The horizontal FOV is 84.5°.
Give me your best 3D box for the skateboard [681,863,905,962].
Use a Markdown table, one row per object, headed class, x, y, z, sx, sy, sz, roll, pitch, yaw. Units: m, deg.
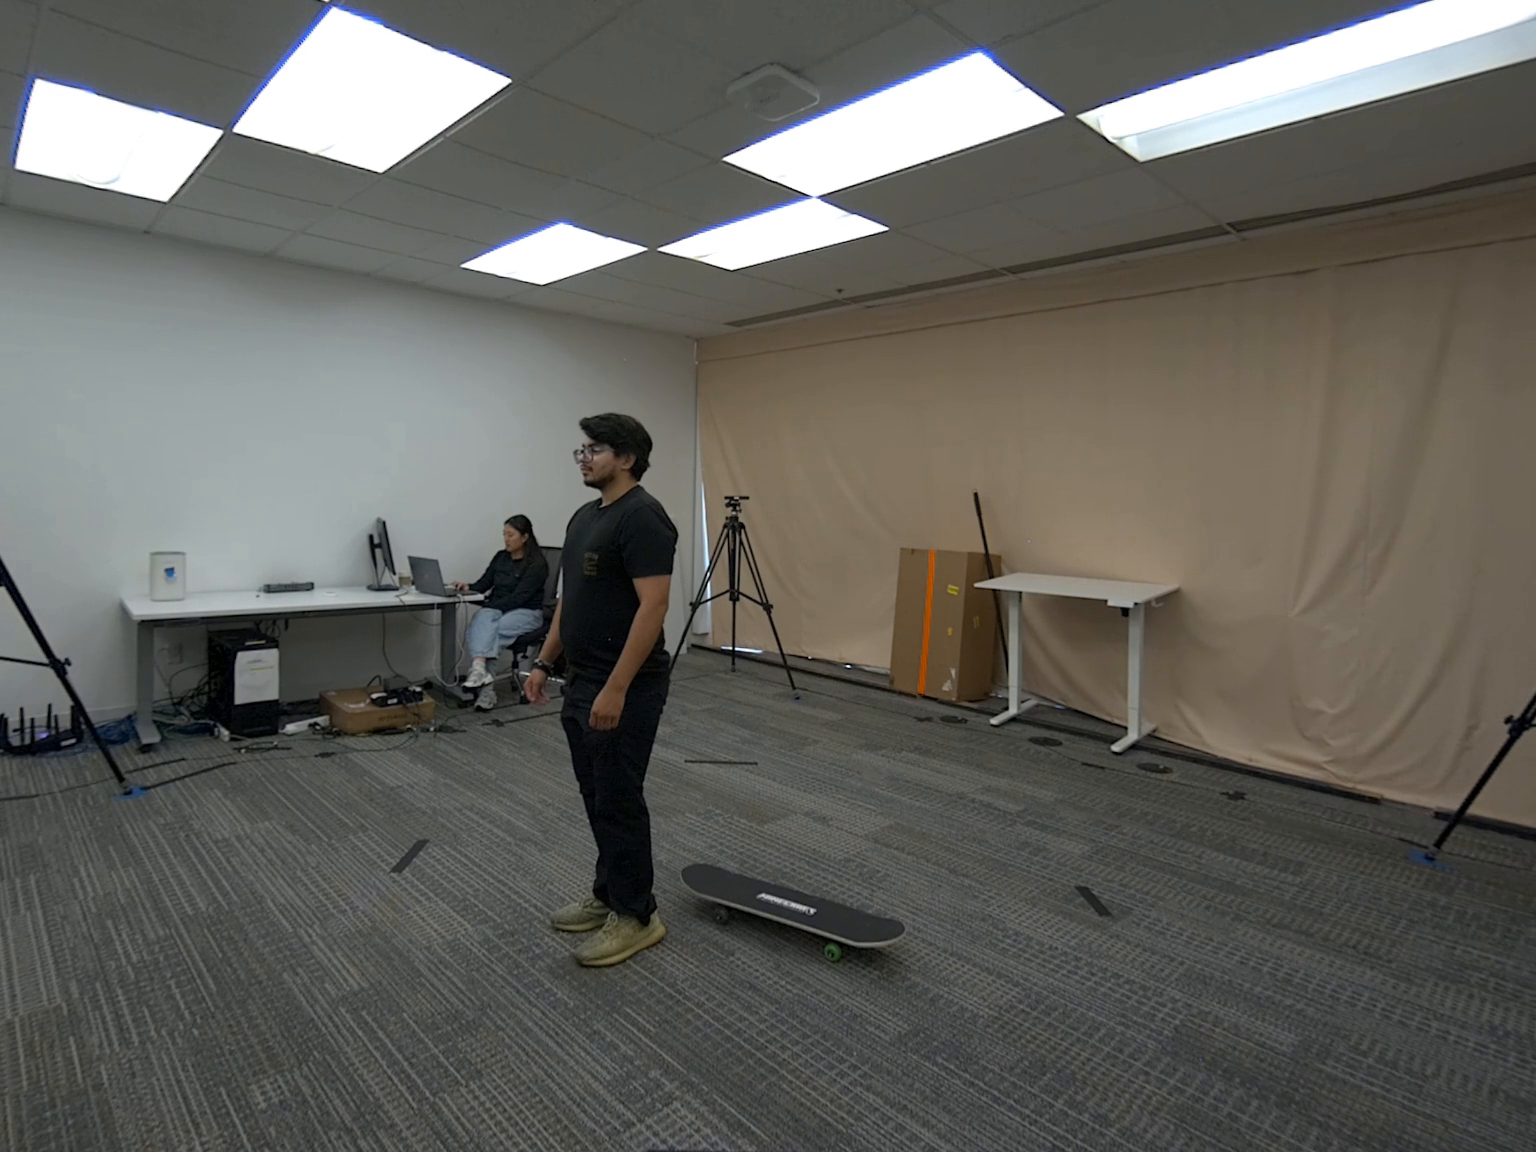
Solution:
| class | x | y | z | sx | sy | sz | roll | pitch | yaw |
| --- | --- | --- | --- | --- | --- | --- | --- | --- | --- |
| skateboard | 0.047 | 1.087 | 2.709 | 0.803 | 0.110 | 0.190 | 5 | 6 | 30 |
